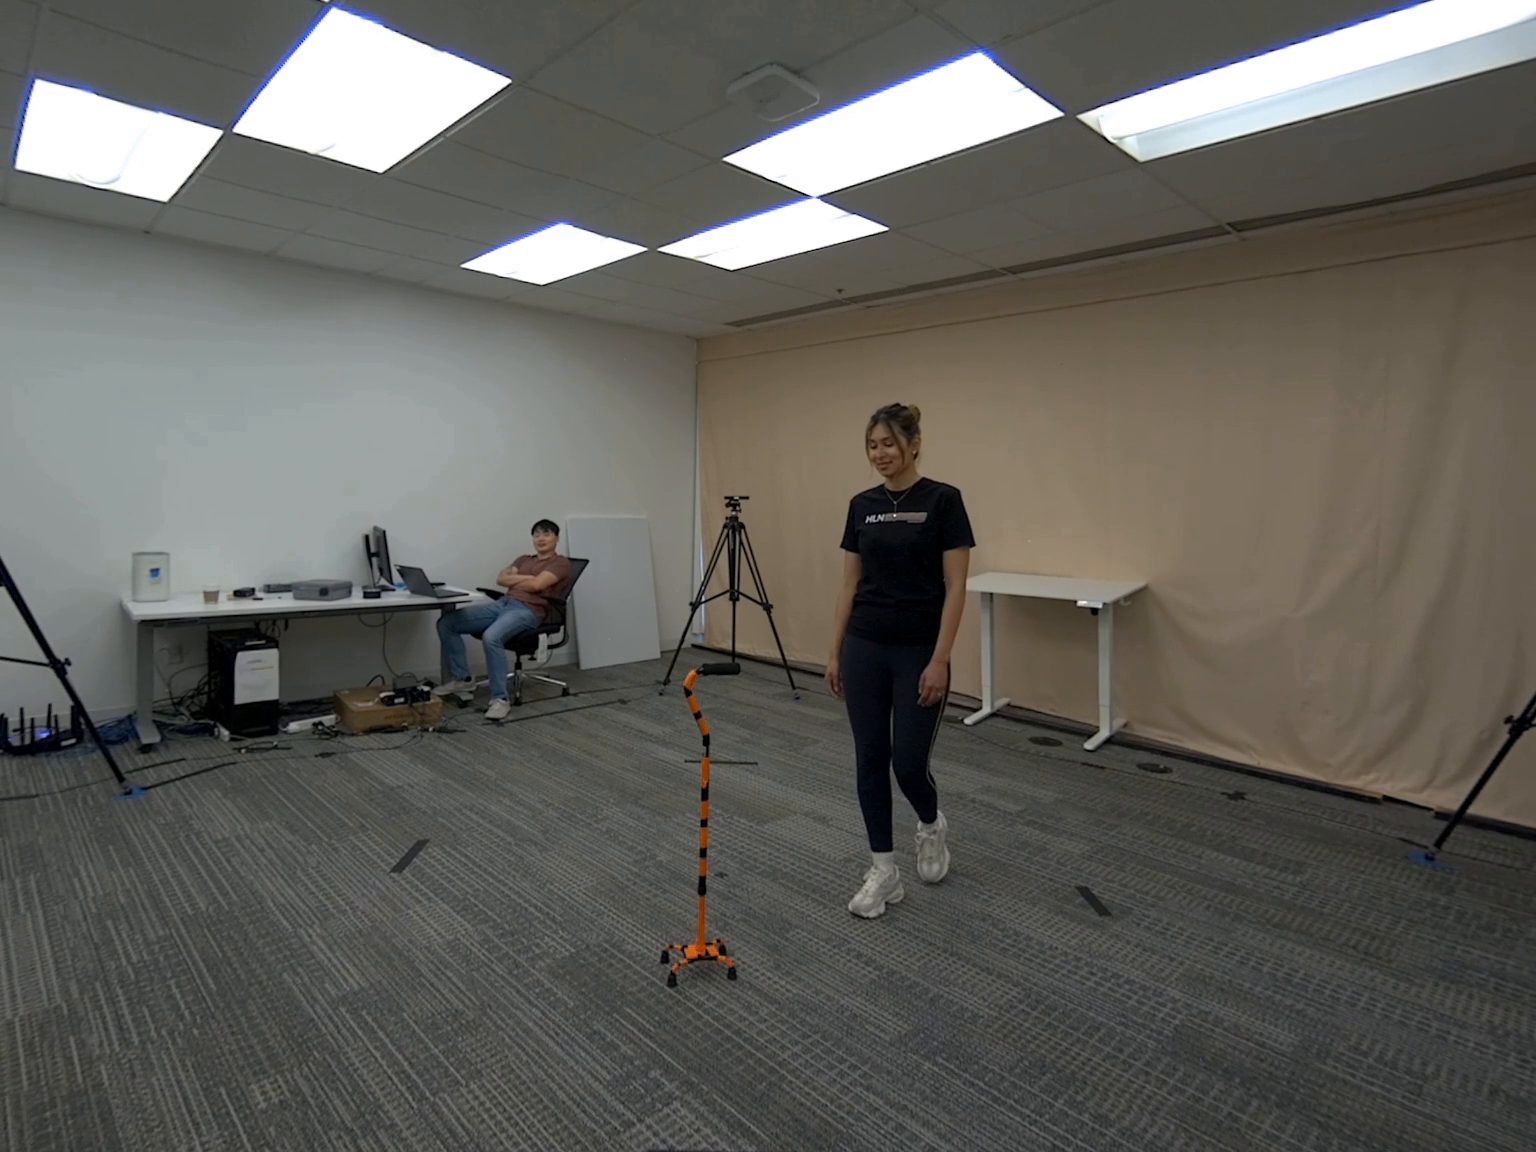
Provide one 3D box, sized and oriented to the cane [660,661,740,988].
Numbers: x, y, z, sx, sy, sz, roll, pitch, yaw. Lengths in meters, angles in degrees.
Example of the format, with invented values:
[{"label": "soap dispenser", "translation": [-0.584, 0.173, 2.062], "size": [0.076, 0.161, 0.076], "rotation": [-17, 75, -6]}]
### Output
[{"label": "cane", "translation": [-0.193, 0.711, 2.448], "size": [0.204, 0.905, 0.154], "rotation": [1, 4, -14]}]
